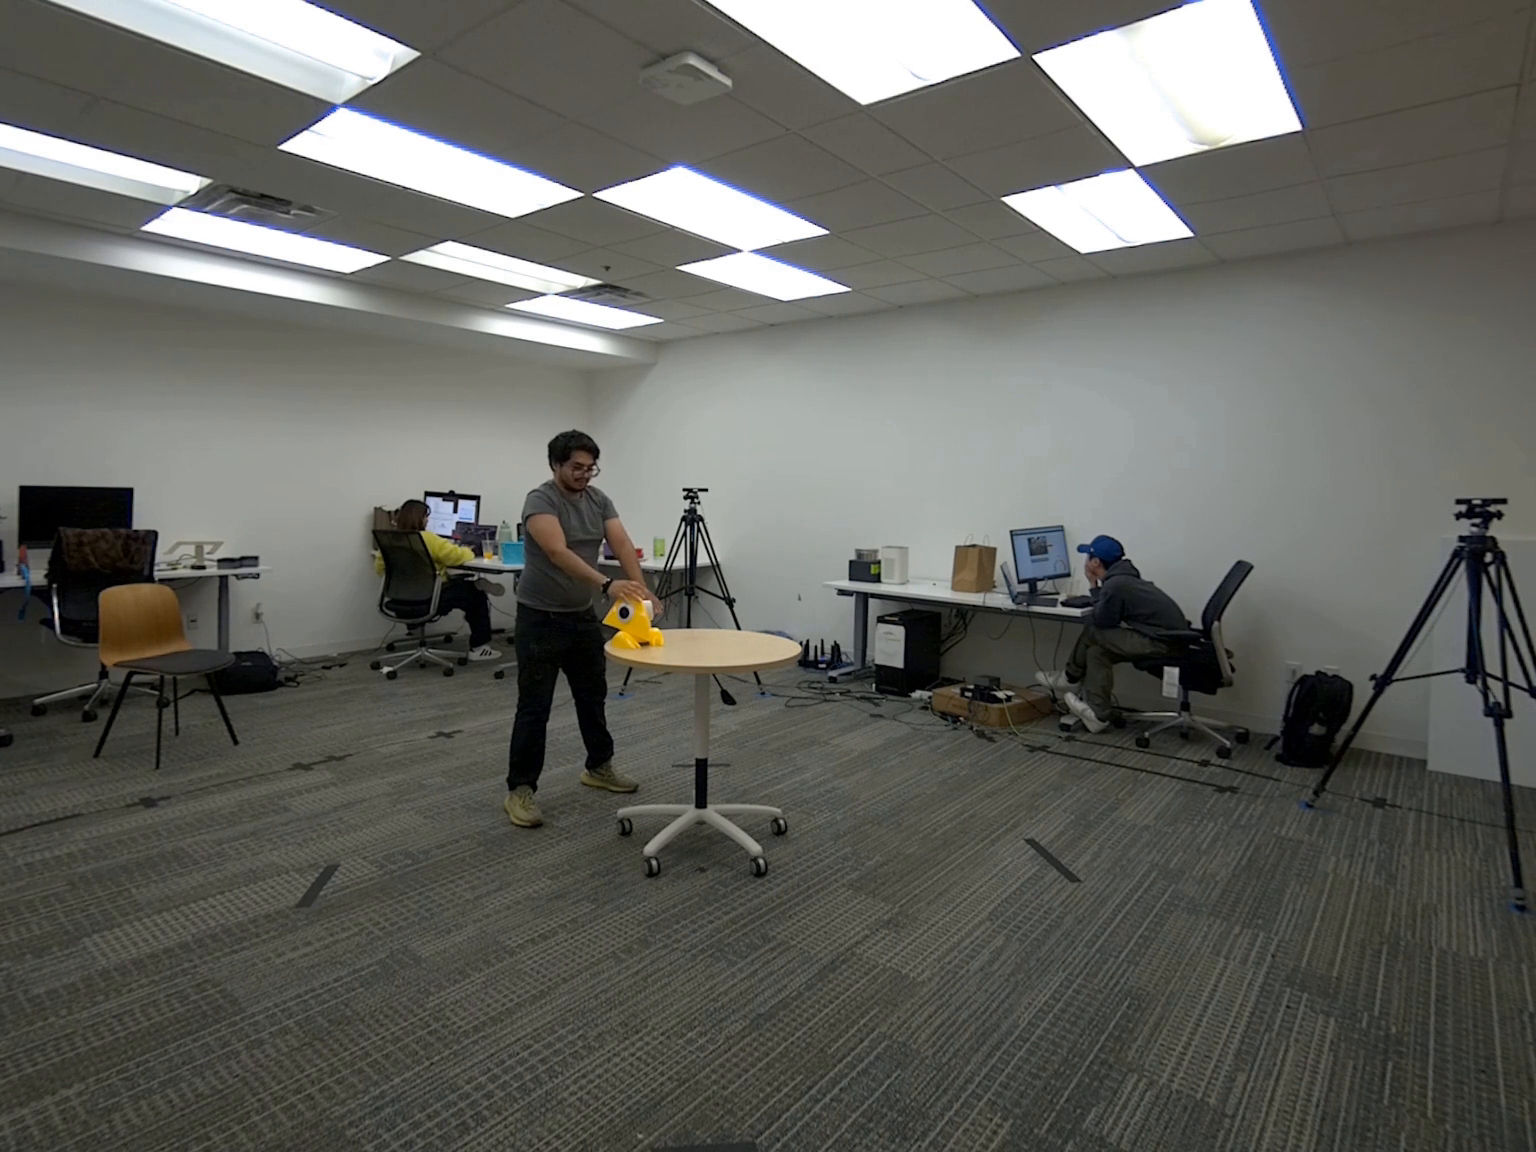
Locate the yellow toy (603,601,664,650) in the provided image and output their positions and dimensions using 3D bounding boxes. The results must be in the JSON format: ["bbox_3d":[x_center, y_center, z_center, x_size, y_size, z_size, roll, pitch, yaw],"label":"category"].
[{"bbox_3d":[-0.525,0.150,3.329,0.199,0.230,0.199,-2,6,-36],"label":"yellow toy"}]
